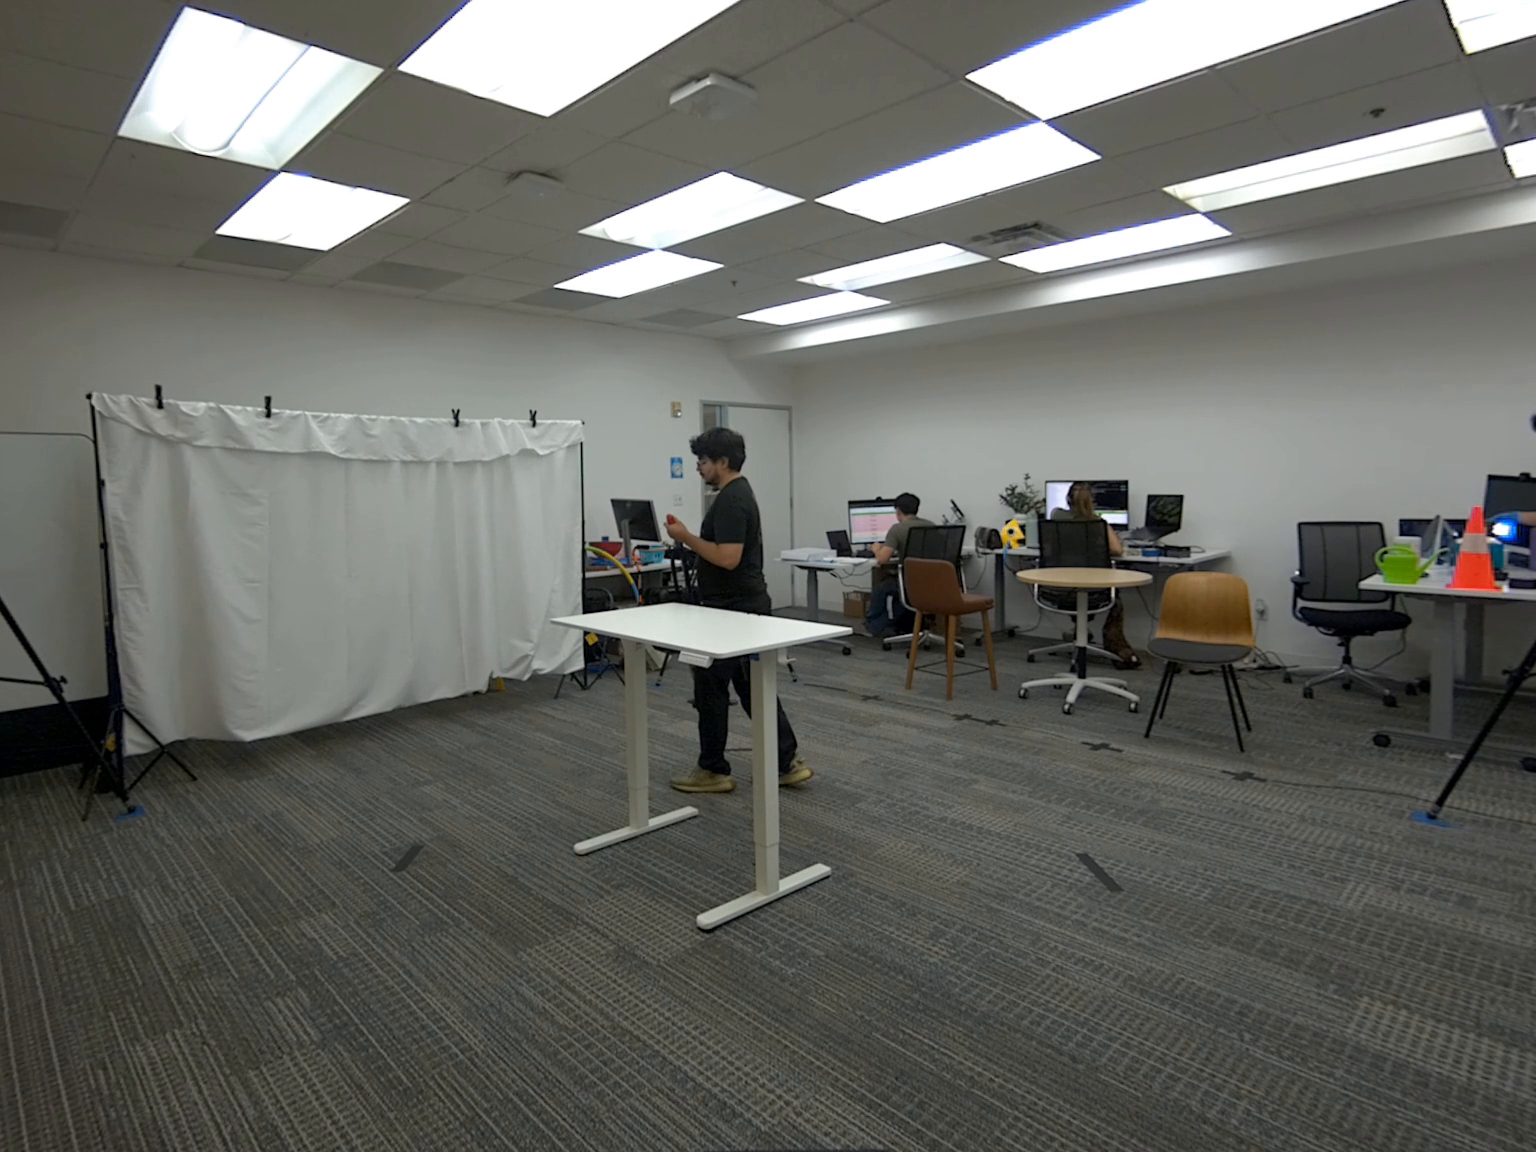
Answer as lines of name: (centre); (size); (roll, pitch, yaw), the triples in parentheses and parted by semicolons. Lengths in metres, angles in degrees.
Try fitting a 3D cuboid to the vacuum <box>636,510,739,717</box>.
vacuum: (-0.356, 0.190, 3.963); (0.257, 1.021, 0.145); (1, 31, 19)
